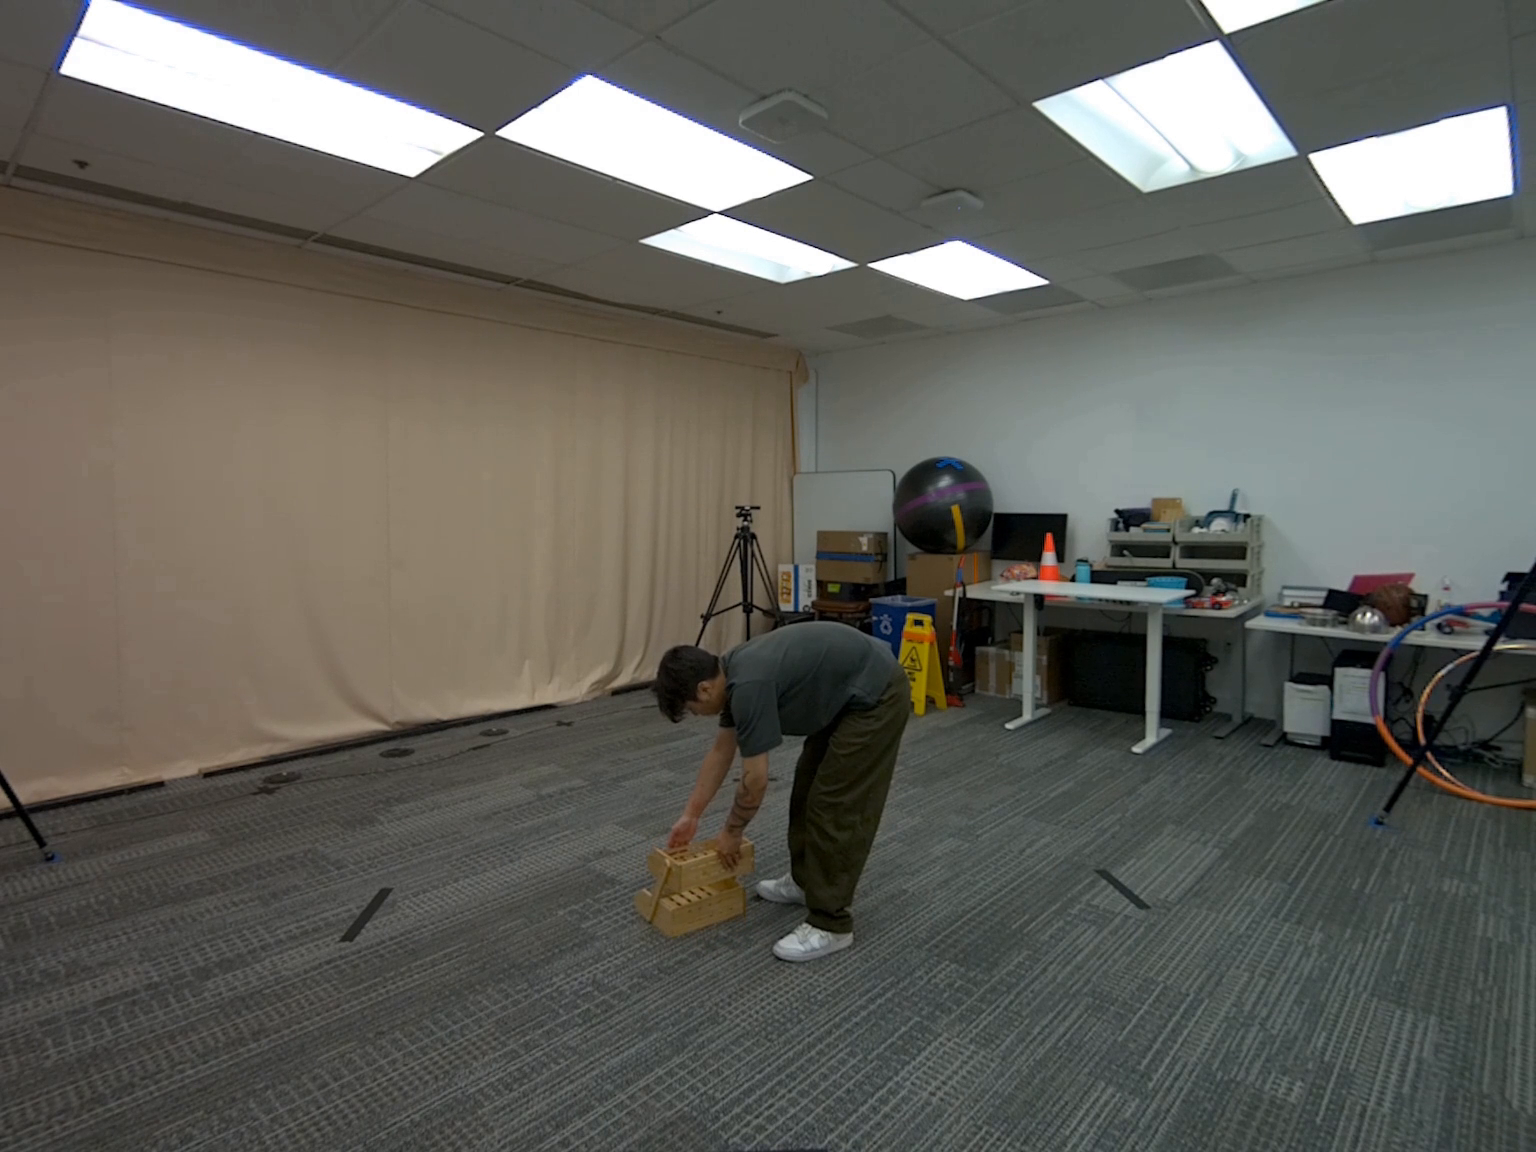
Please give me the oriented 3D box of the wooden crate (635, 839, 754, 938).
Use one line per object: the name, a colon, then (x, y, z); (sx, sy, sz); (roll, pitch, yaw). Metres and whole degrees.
wooden crate: (-0.256, 1.023, 2.872); (0.315, 0.272, 0.312); (-3, 5, -37)
